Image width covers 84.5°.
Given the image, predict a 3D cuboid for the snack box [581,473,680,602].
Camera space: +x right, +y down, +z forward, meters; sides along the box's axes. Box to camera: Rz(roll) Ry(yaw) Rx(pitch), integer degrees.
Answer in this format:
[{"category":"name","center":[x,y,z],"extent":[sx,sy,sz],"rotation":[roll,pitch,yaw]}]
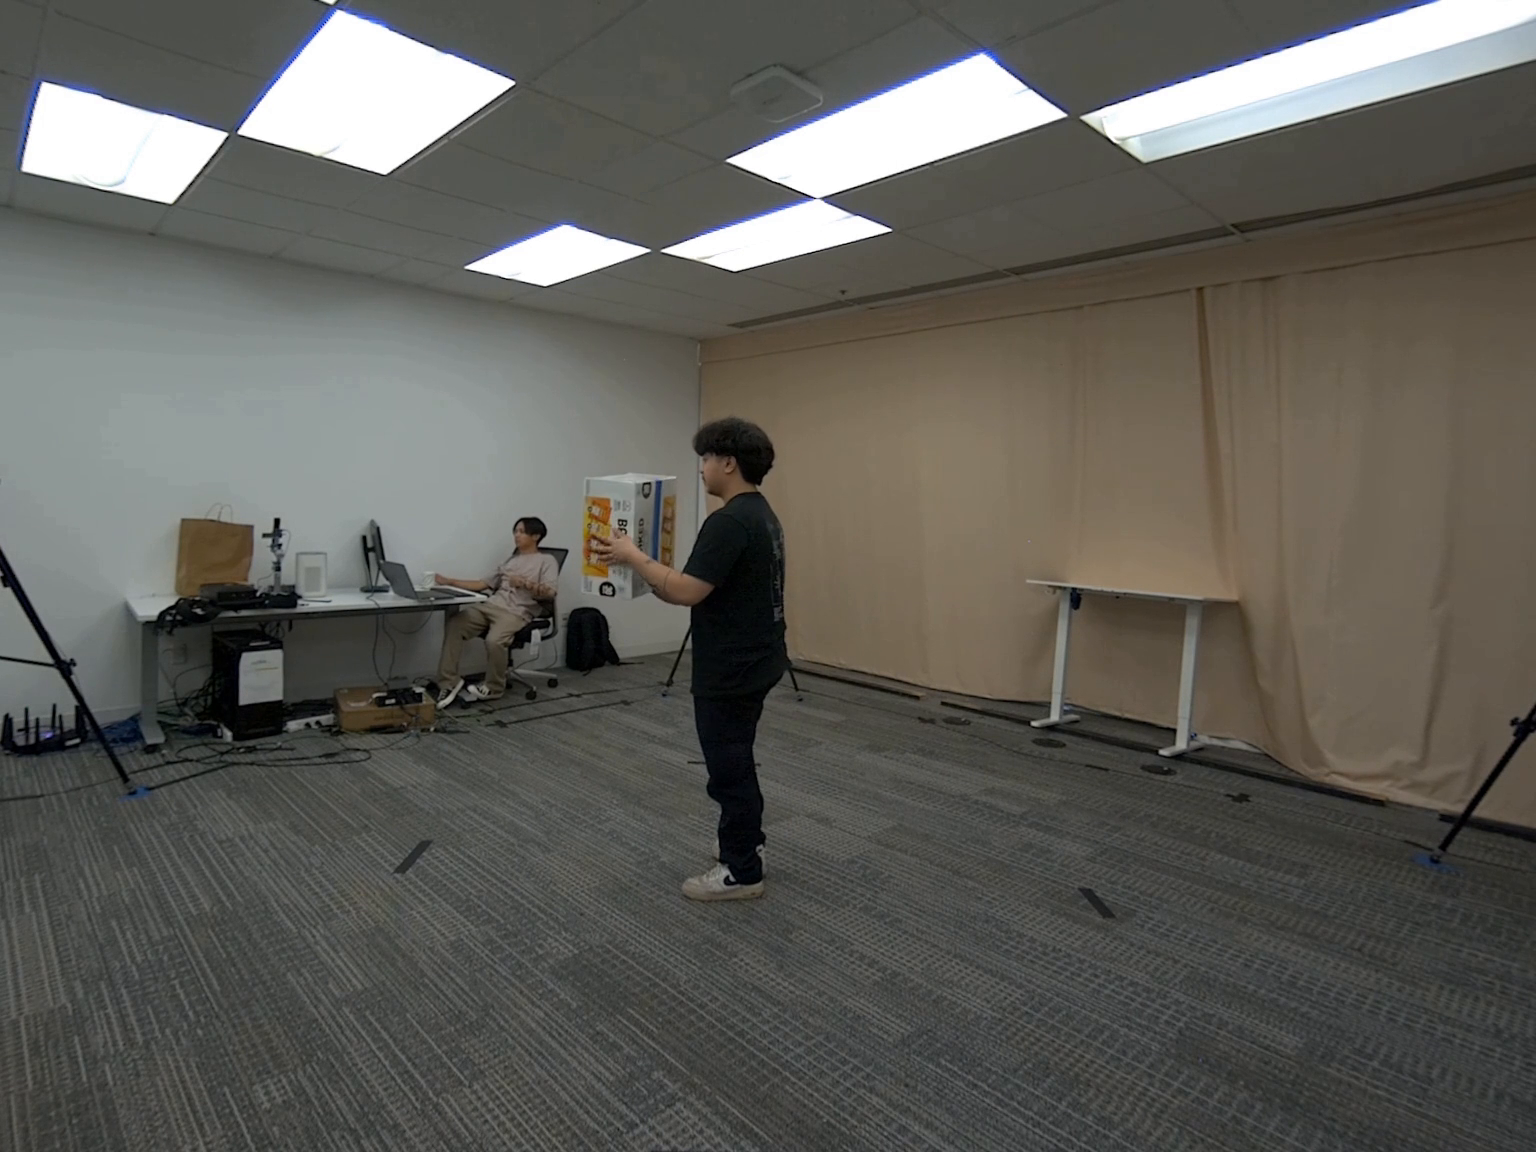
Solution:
[{"category":"snack box","center":[-0.489,-0.152,3.029],"extent":[0.209,0.403,0.337],"rotation":[5,9,19]}]
